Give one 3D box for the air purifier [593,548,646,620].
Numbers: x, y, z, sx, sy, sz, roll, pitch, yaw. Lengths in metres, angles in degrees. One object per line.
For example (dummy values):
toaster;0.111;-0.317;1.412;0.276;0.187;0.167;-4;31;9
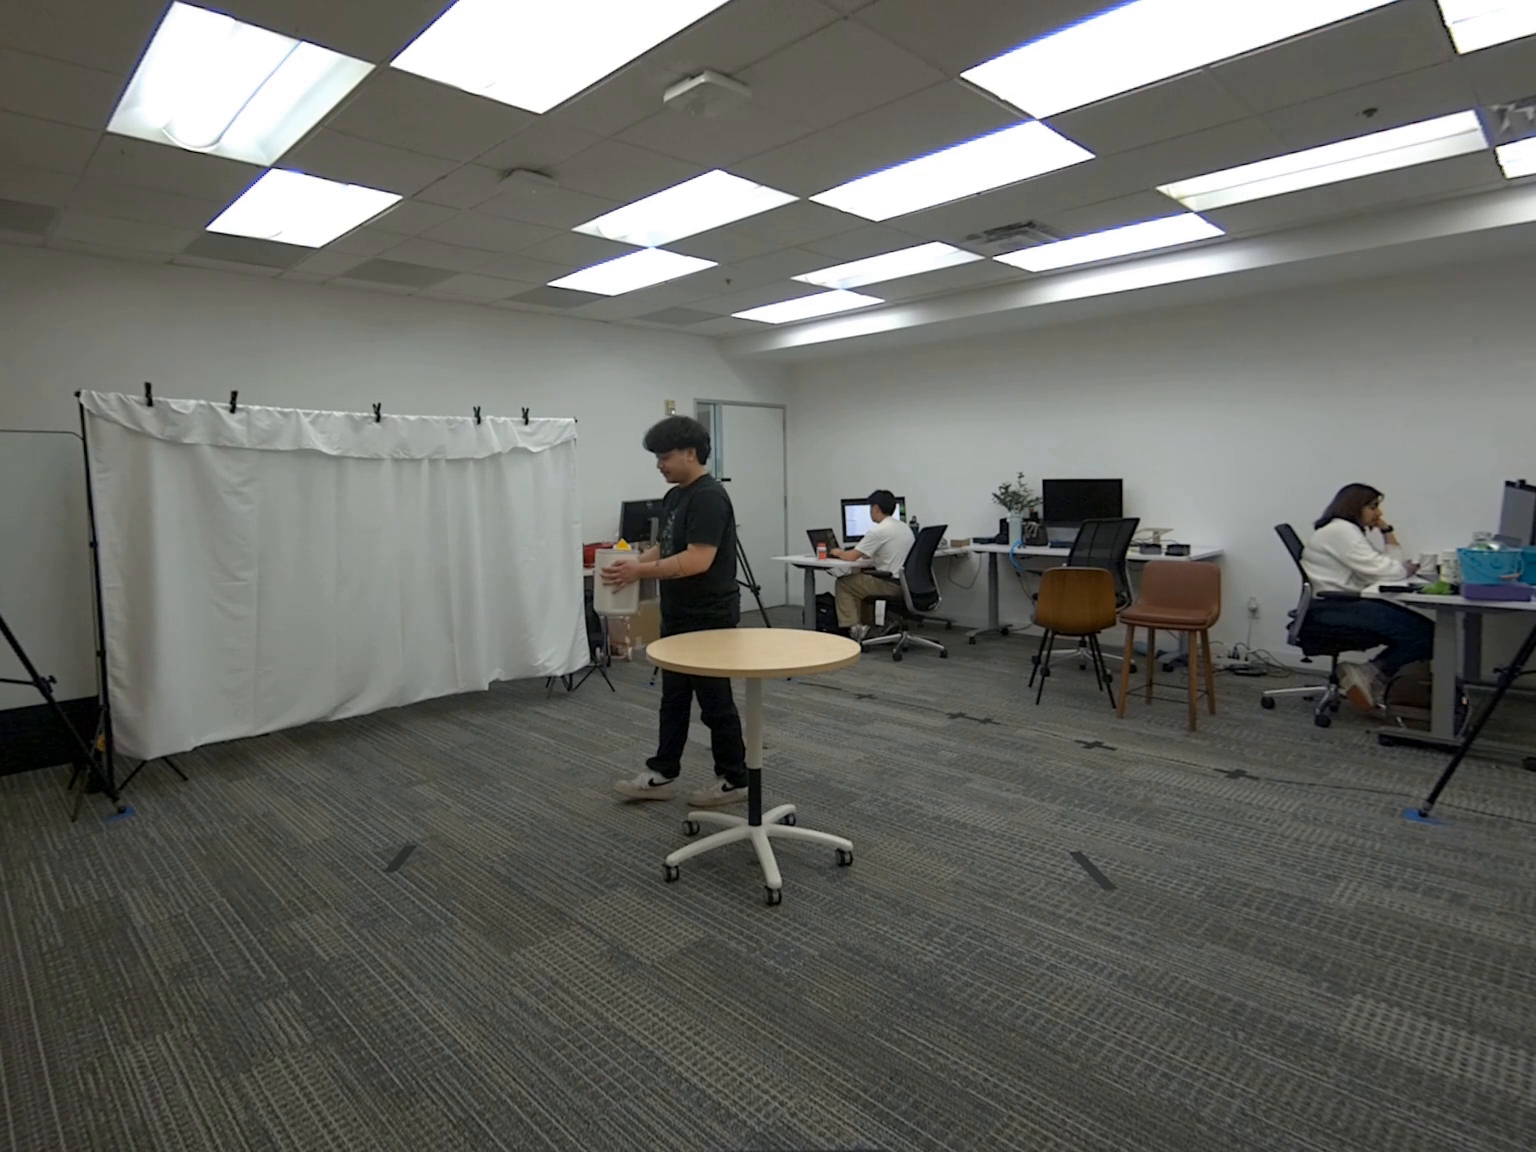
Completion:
air purifier;-0.617;0.026;3.540;0.168;0.264;0.175;0;6;-24
